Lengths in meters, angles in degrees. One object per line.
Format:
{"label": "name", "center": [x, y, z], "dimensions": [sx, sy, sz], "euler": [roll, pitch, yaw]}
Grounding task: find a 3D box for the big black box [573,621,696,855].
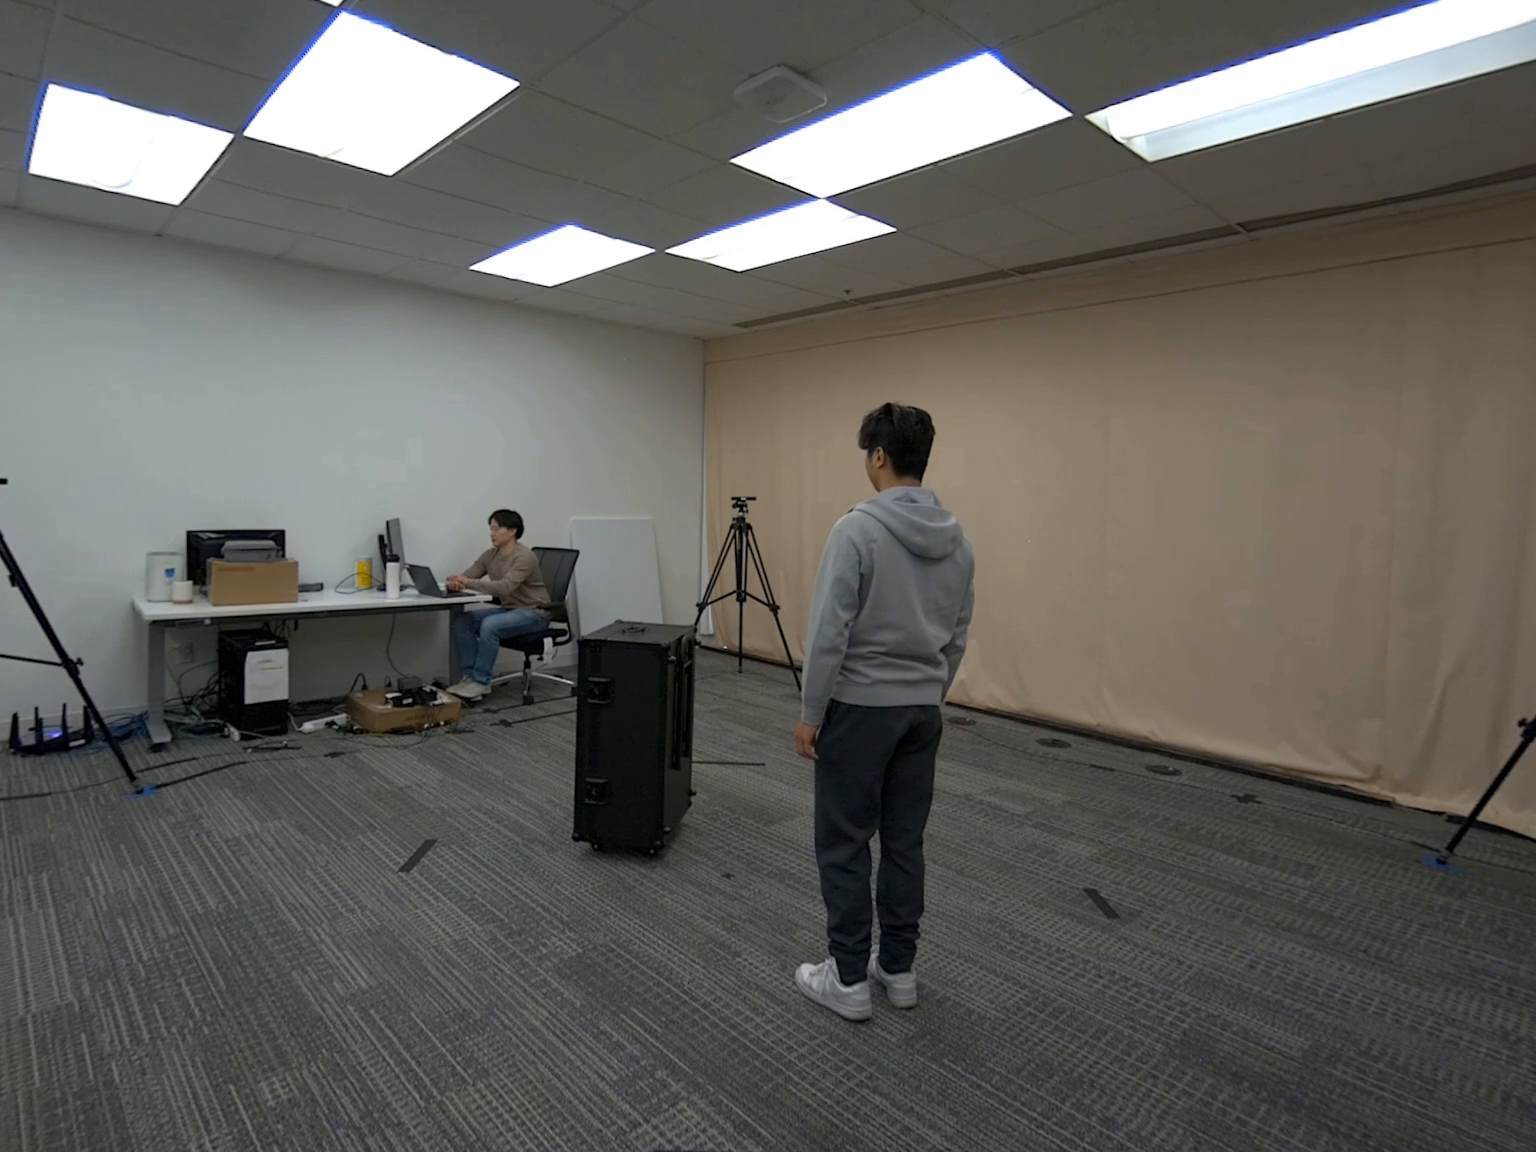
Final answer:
{"label": "big black box", "center": [-0.521, 0.646, 3.403], "dimensions": [0.400, 0.859, 0.518], "euler": [4, 4, 9]}
